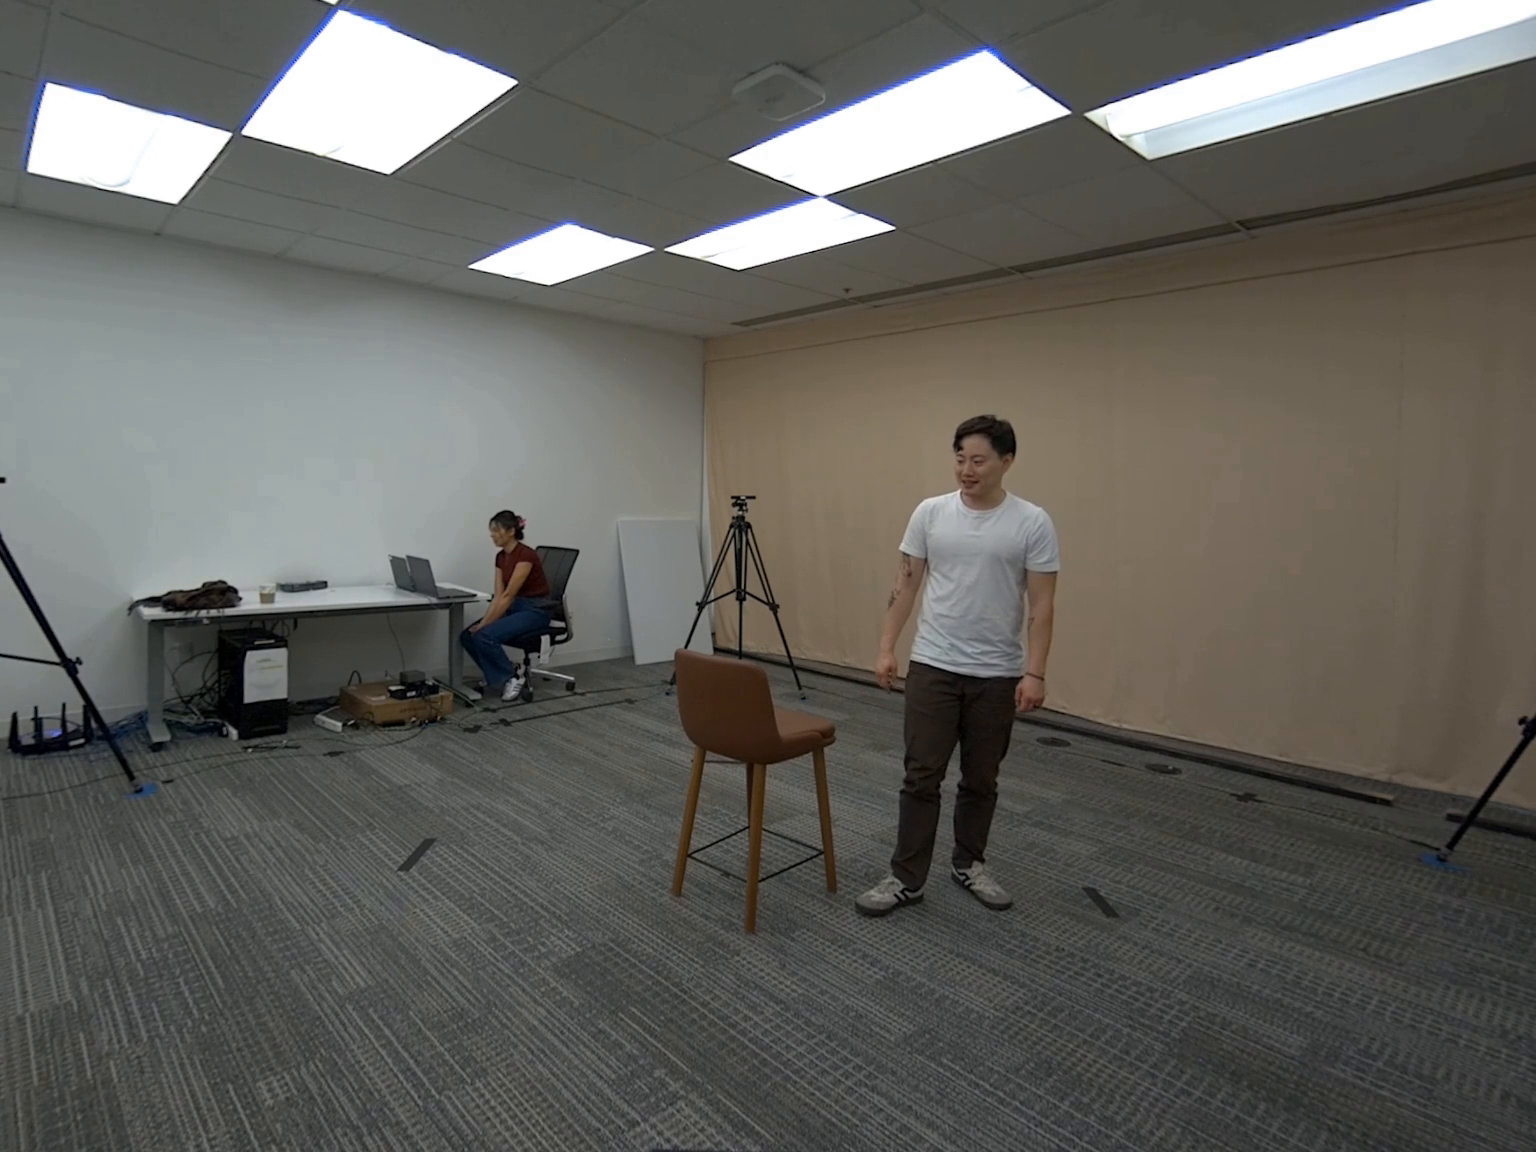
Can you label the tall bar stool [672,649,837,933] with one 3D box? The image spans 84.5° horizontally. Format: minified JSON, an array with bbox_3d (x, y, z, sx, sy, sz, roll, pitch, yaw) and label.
[{"bbox_3d":[-0.051,0.682,2.941,0.468,0.886,0.457,4,7,42],"label":"tall bar stool"}]
